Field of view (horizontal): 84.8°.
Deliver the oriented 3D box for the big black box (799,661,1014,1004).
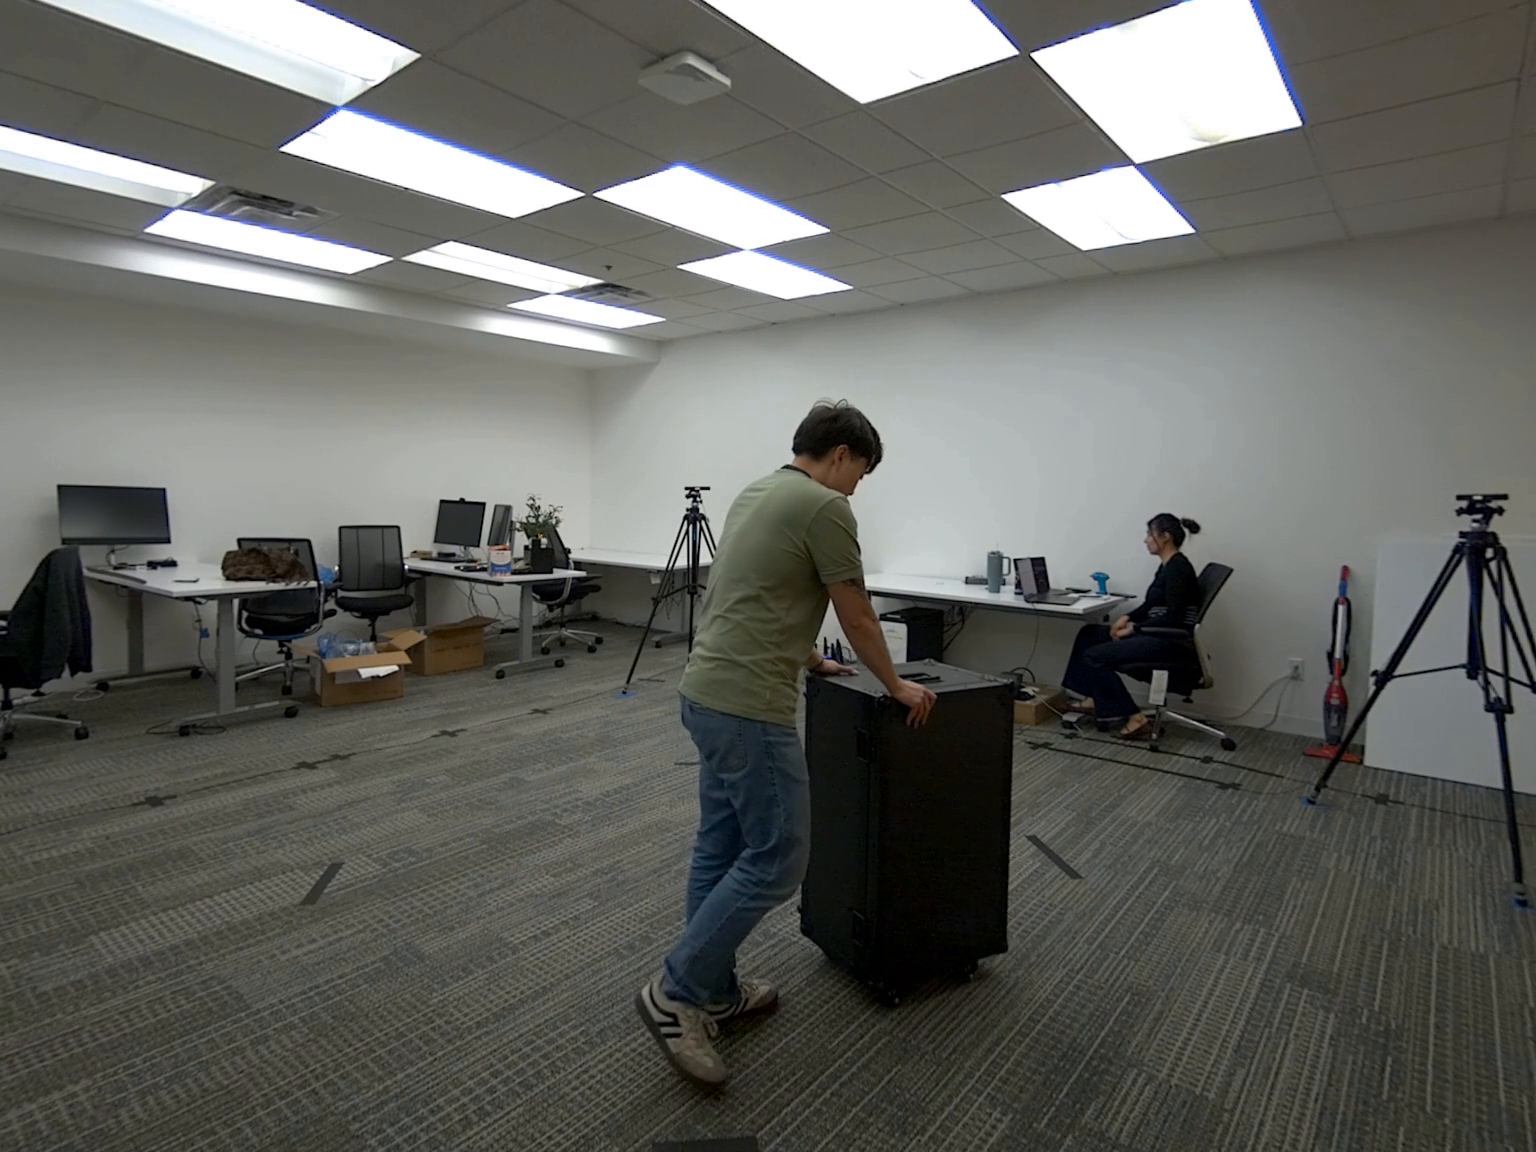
[{"bbox_3d":[0.384,0.715,2.483,0.507,0.860,0.408,-1,3,-30],"label":"big black box"}]
